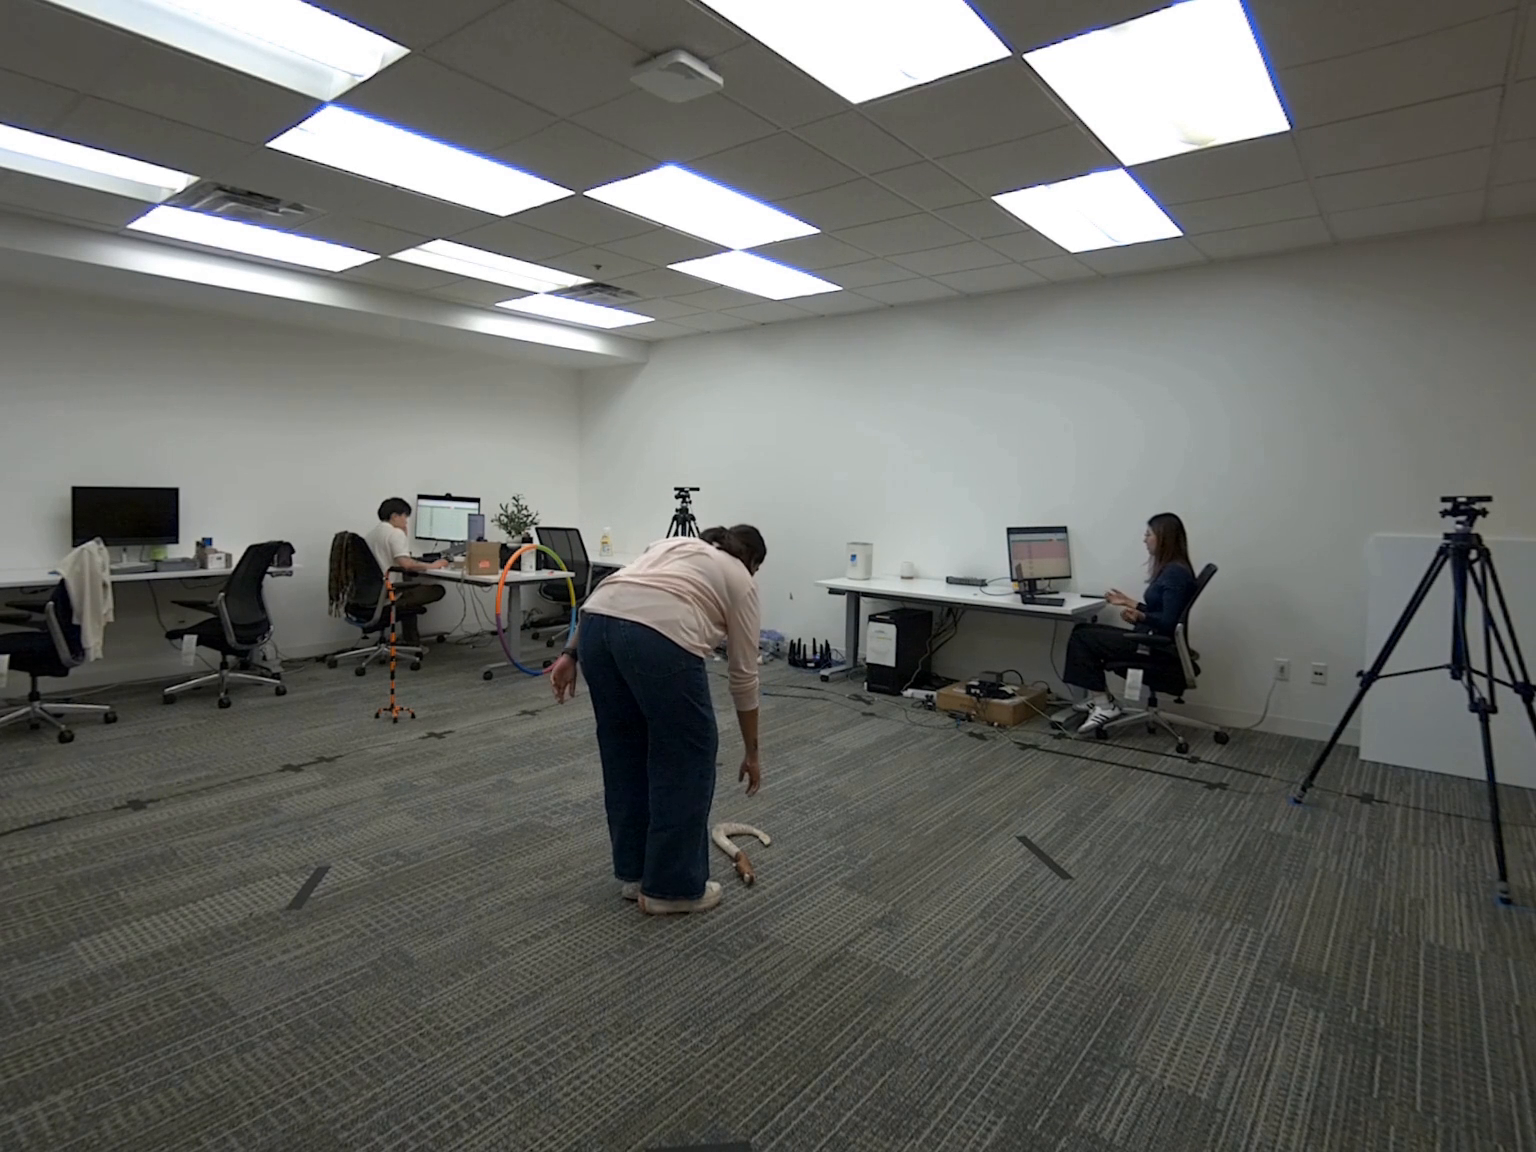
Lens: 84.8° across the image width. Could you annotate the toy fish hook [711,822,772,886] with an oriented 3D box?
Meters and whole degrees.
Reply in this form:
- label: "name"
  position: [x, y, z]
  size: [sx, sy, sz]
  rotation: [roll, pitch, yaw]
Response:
- label: "toy fish hook"
  position: [-0.083, 1.031, 3.217]
  size: [0.221, 0.048, 0.516]
  rotation: [-1, 6, -14]
